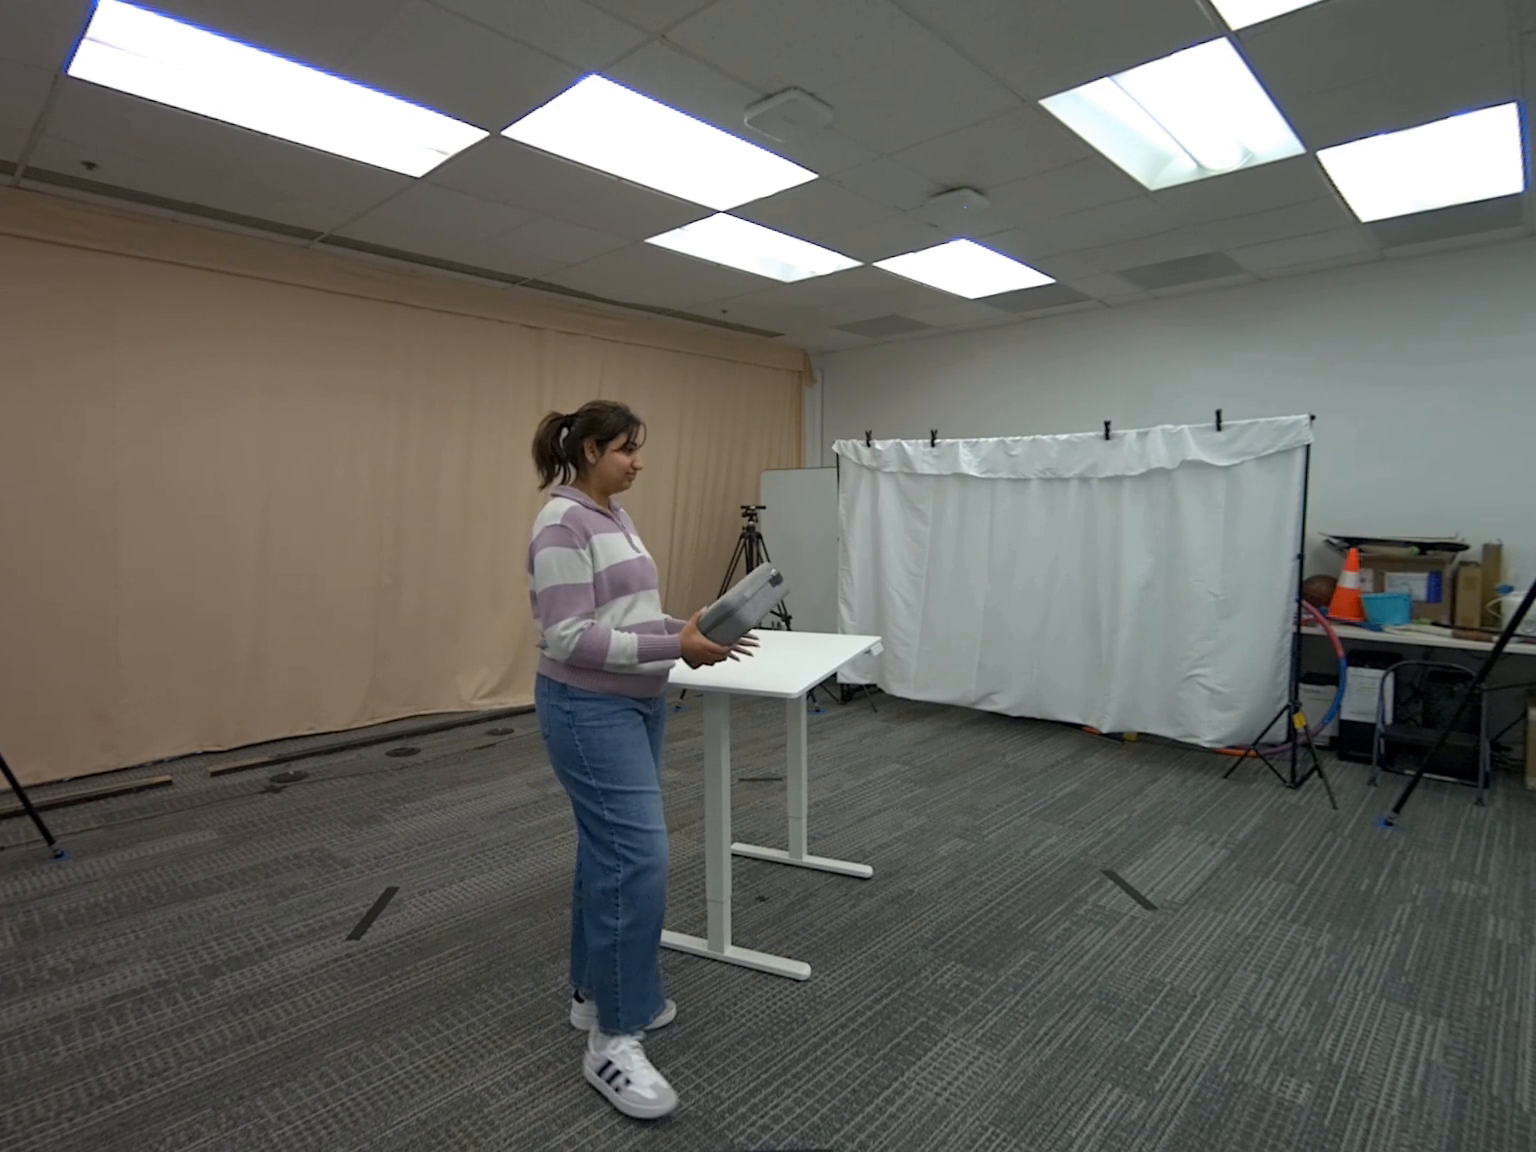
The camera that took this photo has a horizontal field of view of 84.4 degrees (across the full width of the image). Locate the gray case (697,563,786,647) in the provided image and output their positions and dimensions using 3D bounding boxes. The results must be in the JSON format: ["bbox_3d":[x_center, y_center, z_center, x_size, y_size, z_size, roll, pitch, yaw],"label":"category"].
[{"bbox_3d":[-0.084,0.103,2.135,0.264,0.104,0.254,-38,5,35],"label":"gray case"}]
